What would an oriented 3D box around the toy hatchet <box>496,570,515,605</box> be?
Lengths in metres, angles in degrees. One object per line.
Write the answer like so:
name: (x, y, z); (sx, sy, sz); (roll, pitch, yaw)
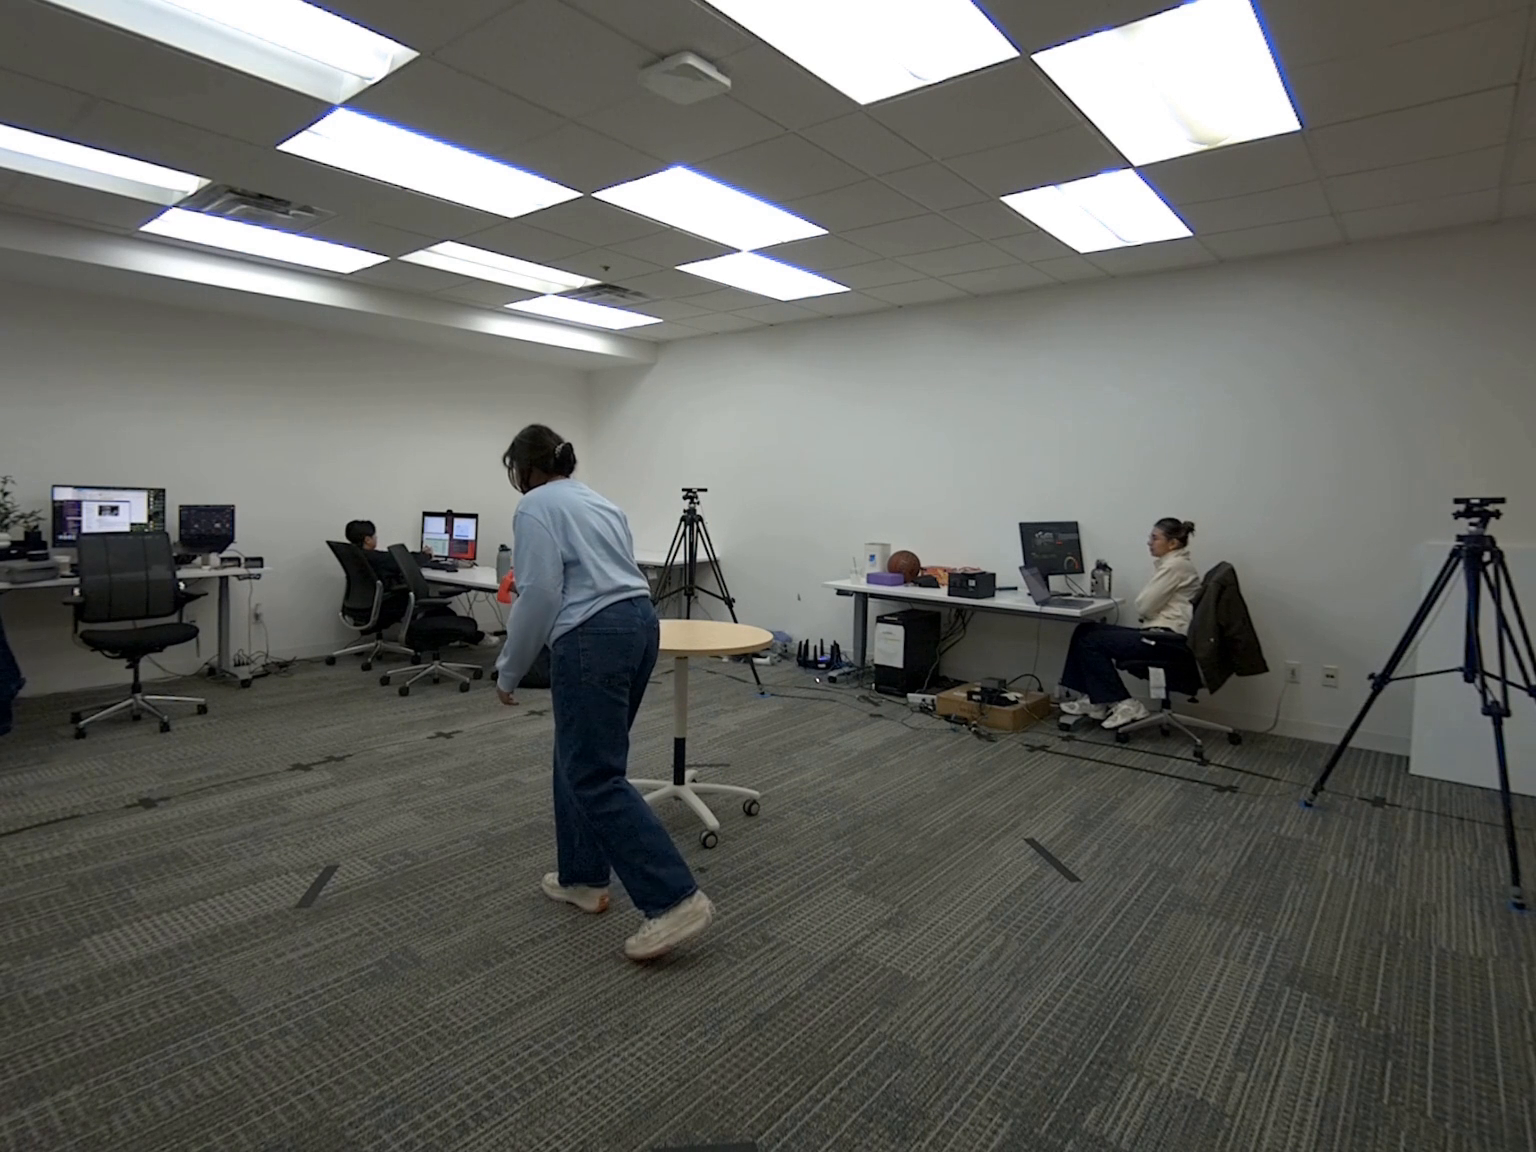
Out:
toy hatchet: (-0.884, 0.107, 3.033); (0.279, 0.131, 0.028); (44, 4, 24)
